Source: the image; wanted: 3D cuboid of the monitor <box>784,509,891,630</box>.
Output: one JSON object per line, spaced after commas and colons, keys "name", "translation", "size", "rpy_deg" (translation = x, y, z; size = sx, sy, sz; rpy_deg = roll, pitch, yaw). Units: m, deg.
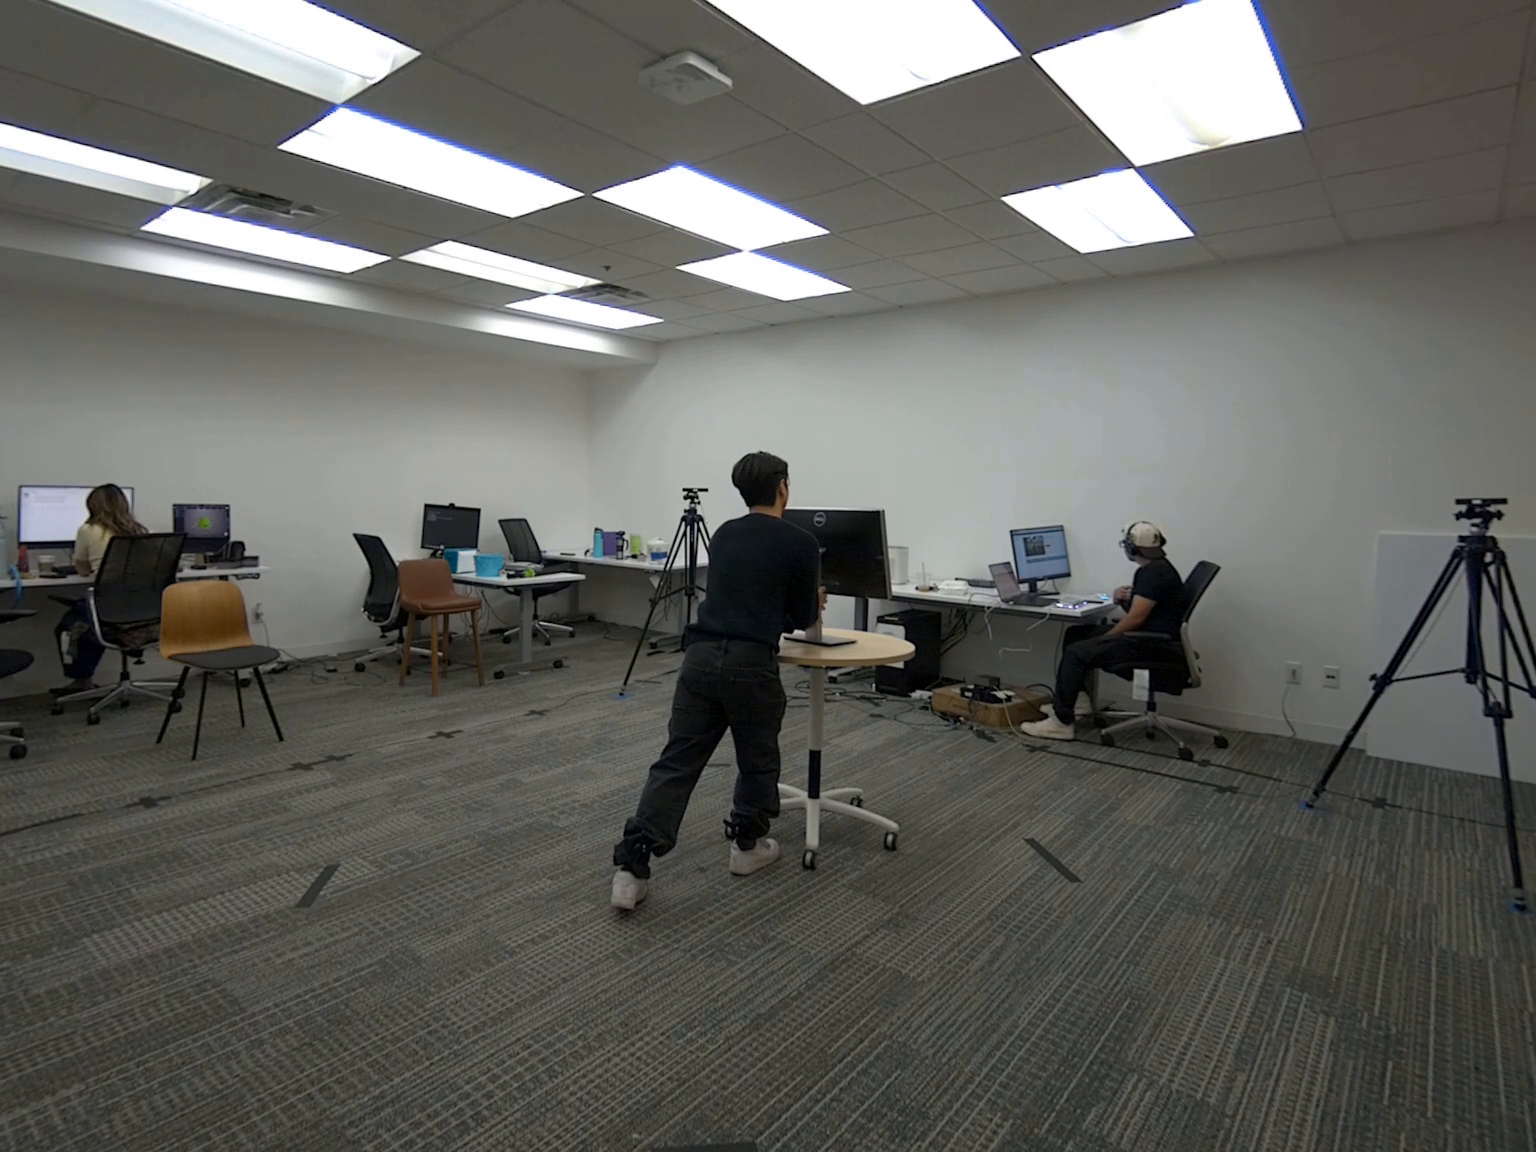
{"name": "monitor", "translation": [0.216, -0.011, 3.462], "size": [0.547, 0.517, 0.168], "rpy_deg": [2, -4, 39]}
